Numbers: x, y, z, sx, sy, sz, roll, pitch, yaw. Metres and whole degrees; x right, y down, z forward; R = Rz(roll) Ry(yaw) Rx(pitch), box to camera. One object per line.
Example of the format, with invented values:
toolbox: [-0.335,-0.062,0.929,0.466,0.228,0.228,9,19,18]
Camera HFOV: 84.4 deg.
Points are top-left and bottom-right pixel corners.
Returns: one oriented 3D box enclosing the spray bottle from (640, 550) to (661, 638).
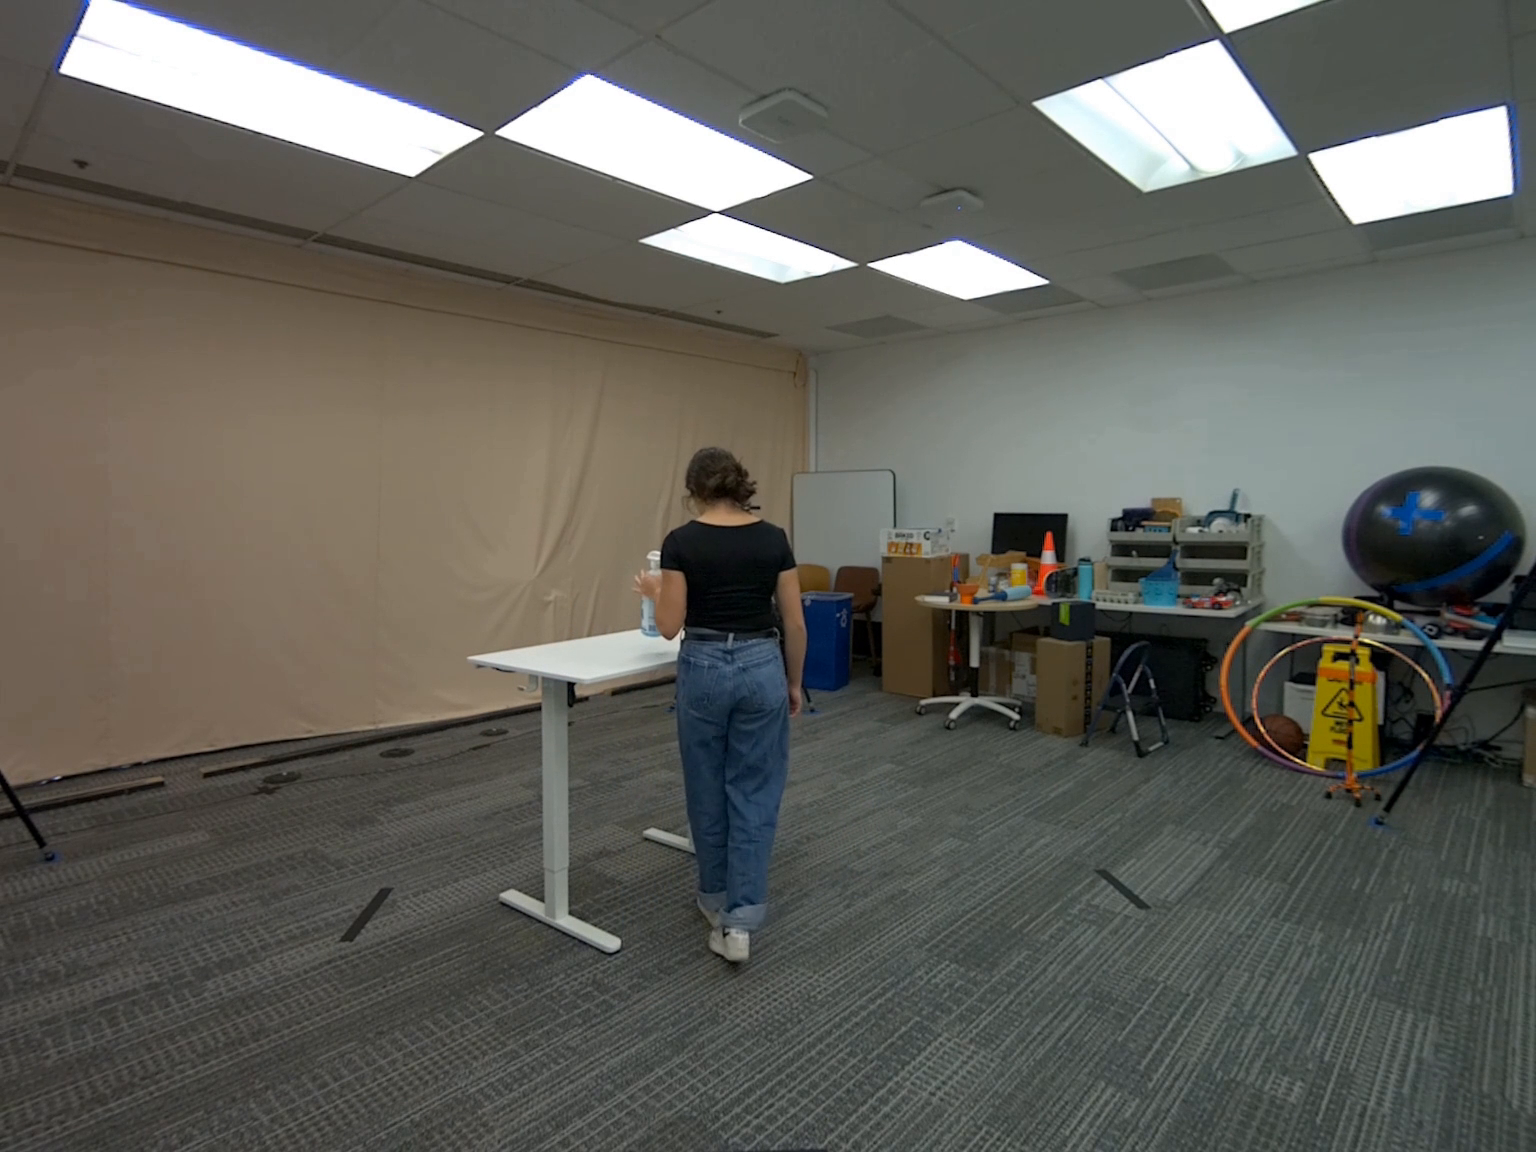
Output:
spray bottle: [-0.392,0.060,2.877,0.085,0.294,0.093,-4,19,-24]
